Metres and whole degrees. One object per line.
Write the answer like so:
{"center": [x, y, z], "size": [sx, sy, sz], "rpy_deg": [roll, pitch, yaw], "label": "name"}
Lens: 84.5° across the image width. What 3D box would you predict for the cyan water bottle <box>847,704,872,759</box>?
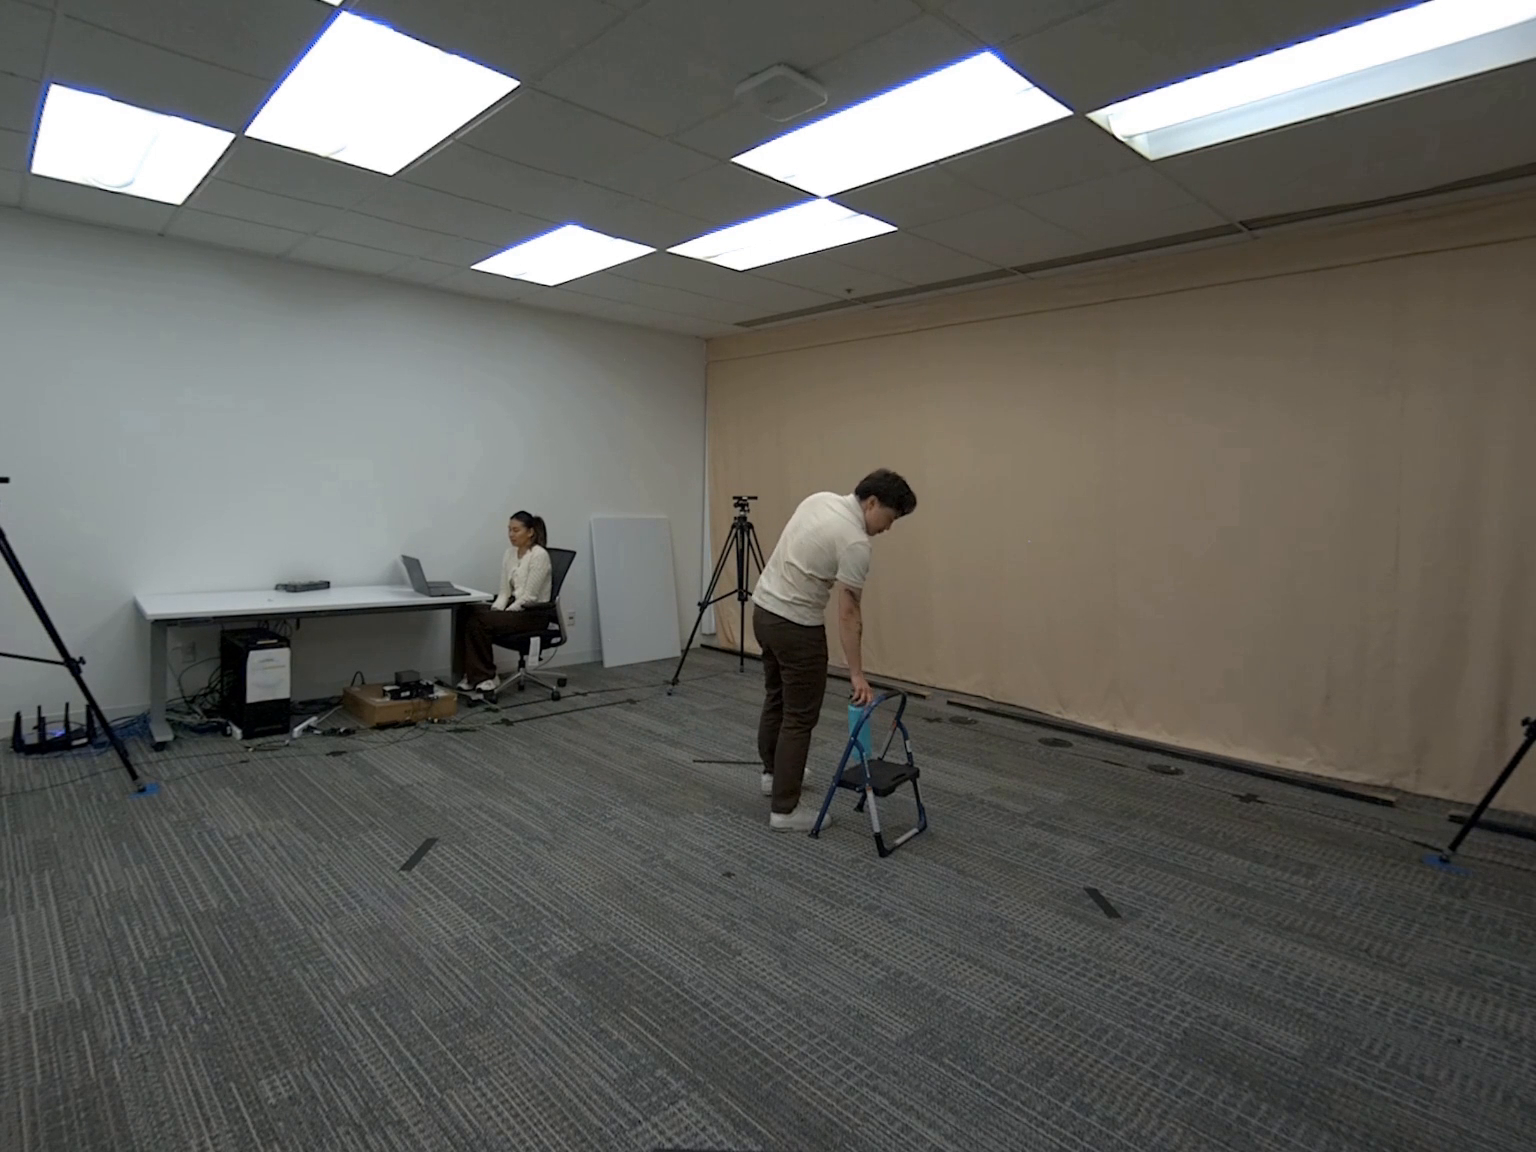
{"center": [0.377, 0.613, 3.476], "size": [0.092, 0.281, 0.093], "rpy_deg": [-4, 10, -1], "label": "cyan water bottle"}
